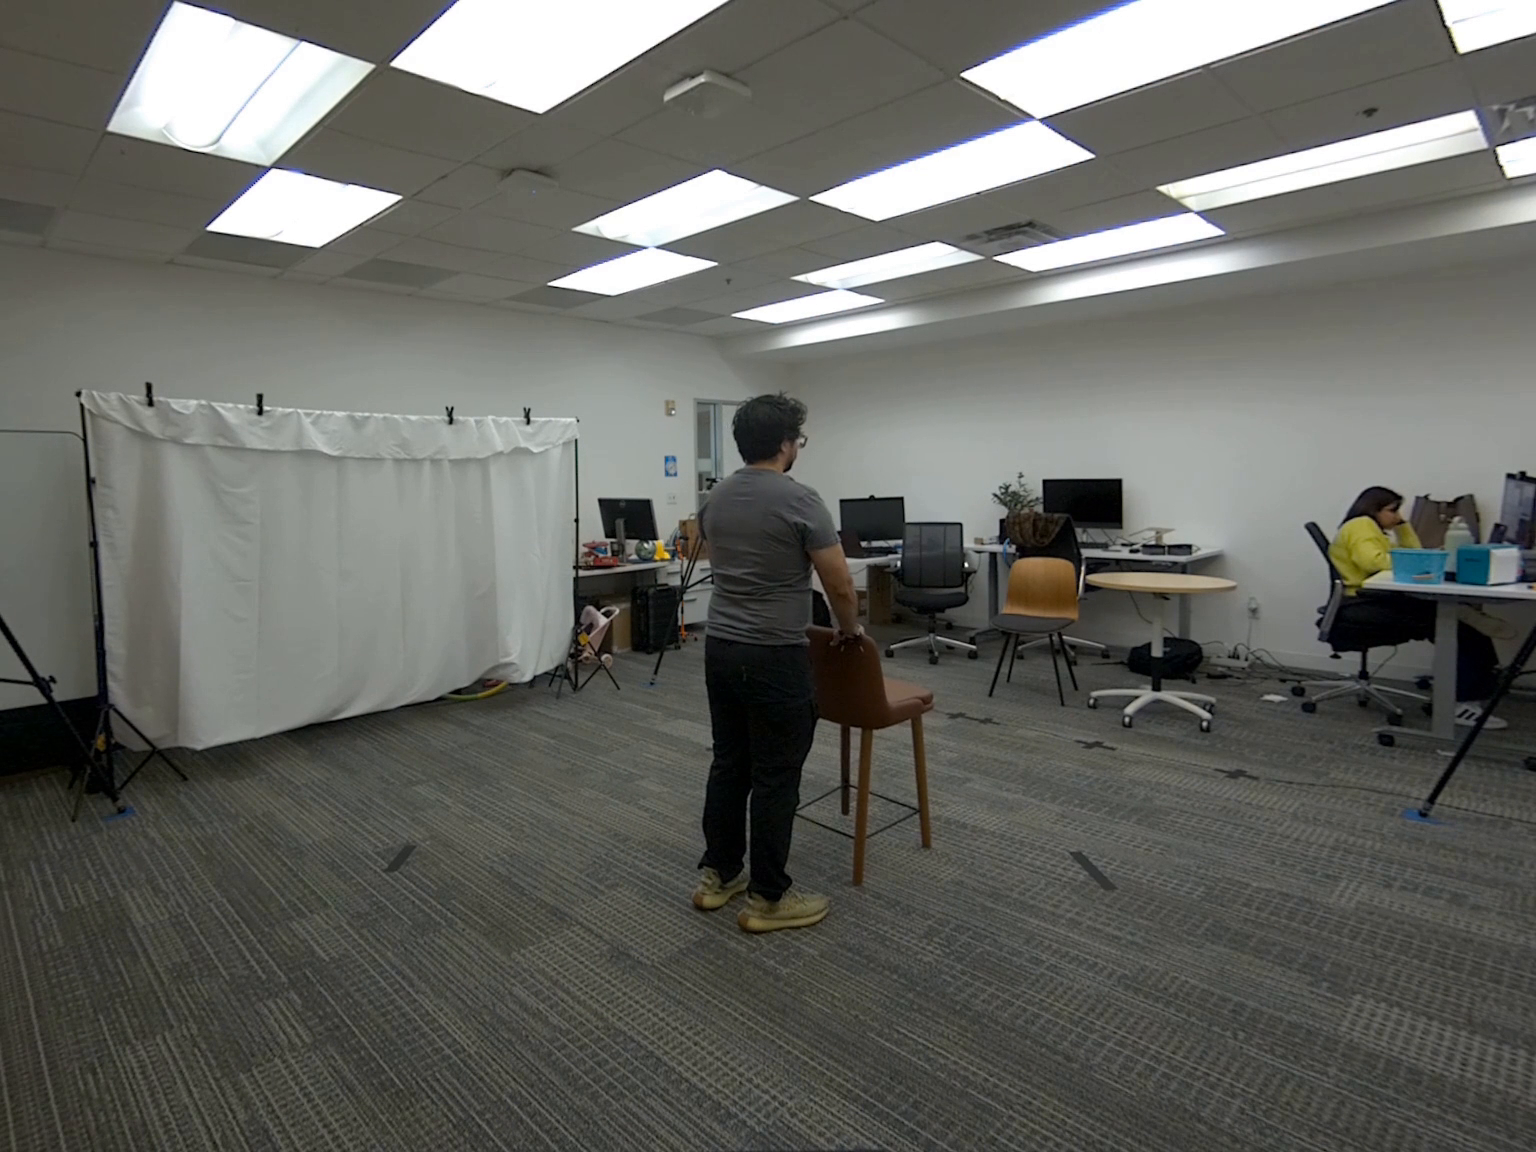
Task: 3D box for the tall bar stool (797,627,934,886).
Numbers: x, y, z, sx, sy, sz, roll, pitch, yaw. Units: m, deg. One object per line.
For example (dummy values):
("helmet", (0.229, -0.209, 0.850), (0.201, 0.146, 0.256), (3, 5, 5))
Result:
("tall bar stool", (0.320, 0.583, 3.146), (0.471, 0.883, 0.456), (7, 11, 43))
